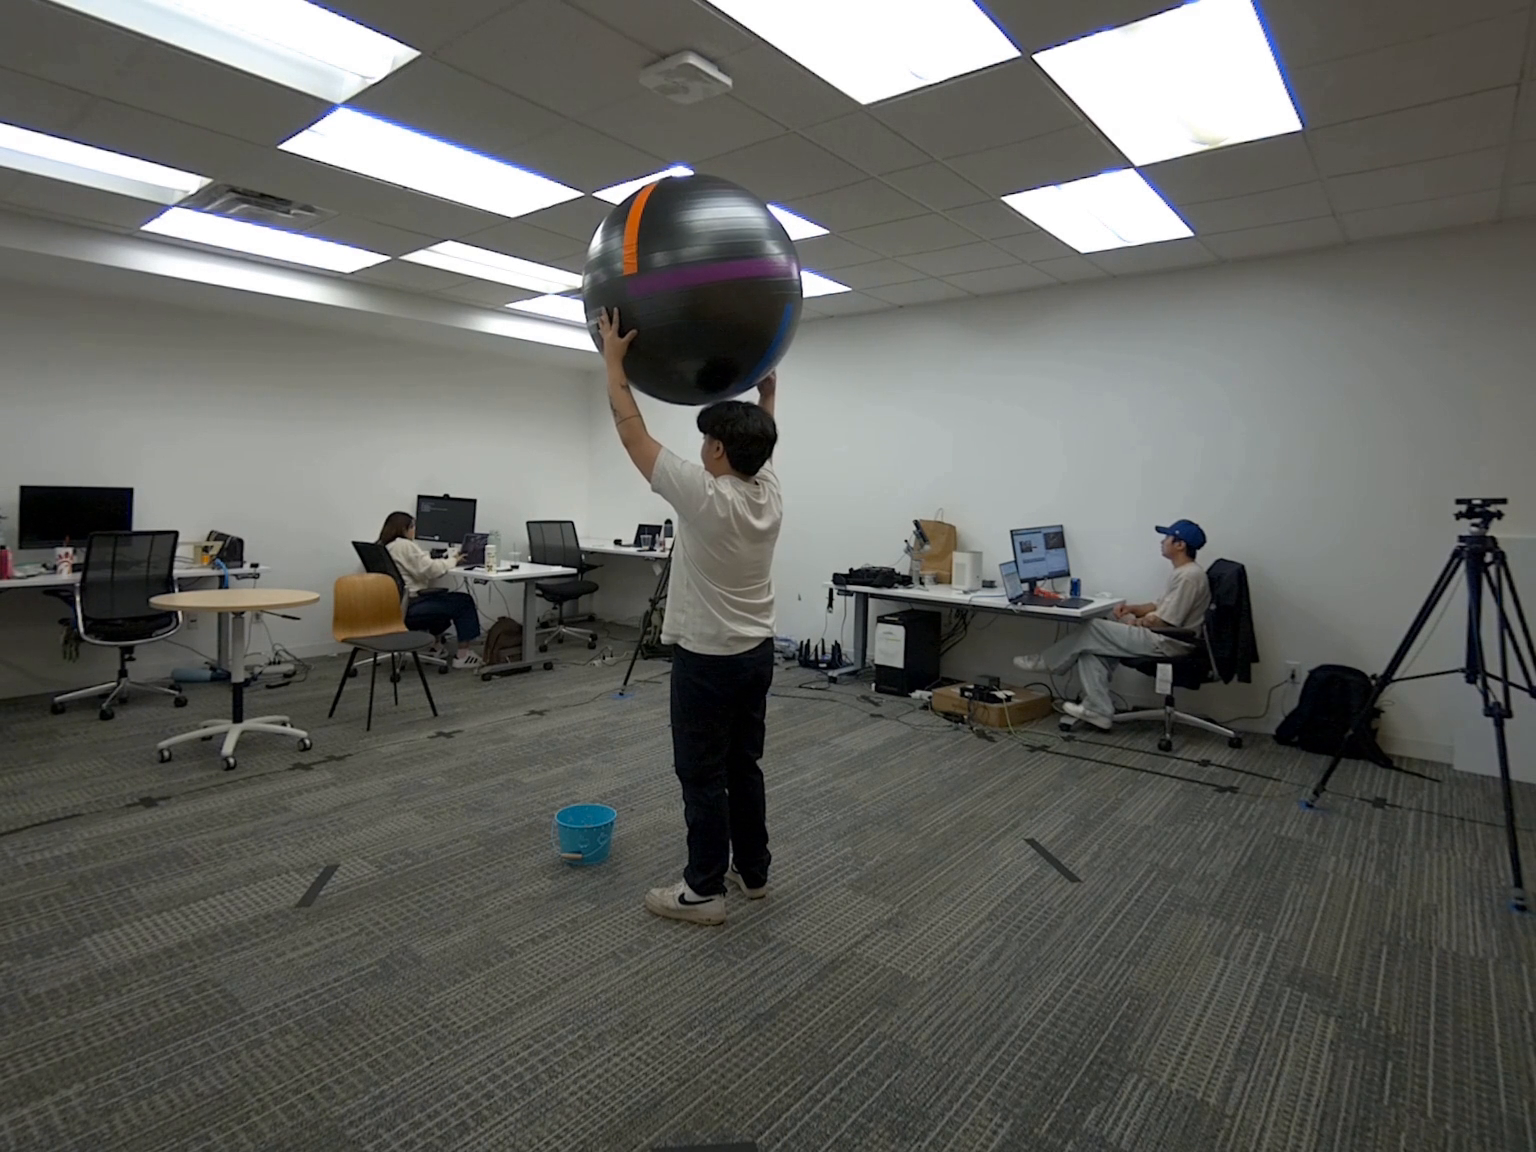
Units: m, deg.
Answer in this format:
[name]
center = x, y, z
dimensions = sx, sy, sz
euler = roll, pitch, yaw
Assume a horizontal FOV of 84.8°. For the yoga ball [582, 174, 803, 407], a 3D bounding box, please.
[yoga ball]
center = -0.262, -0.968, 2.910
dimensions = 0.757, 0.755, 0.762
euler = 1, 4, -2
